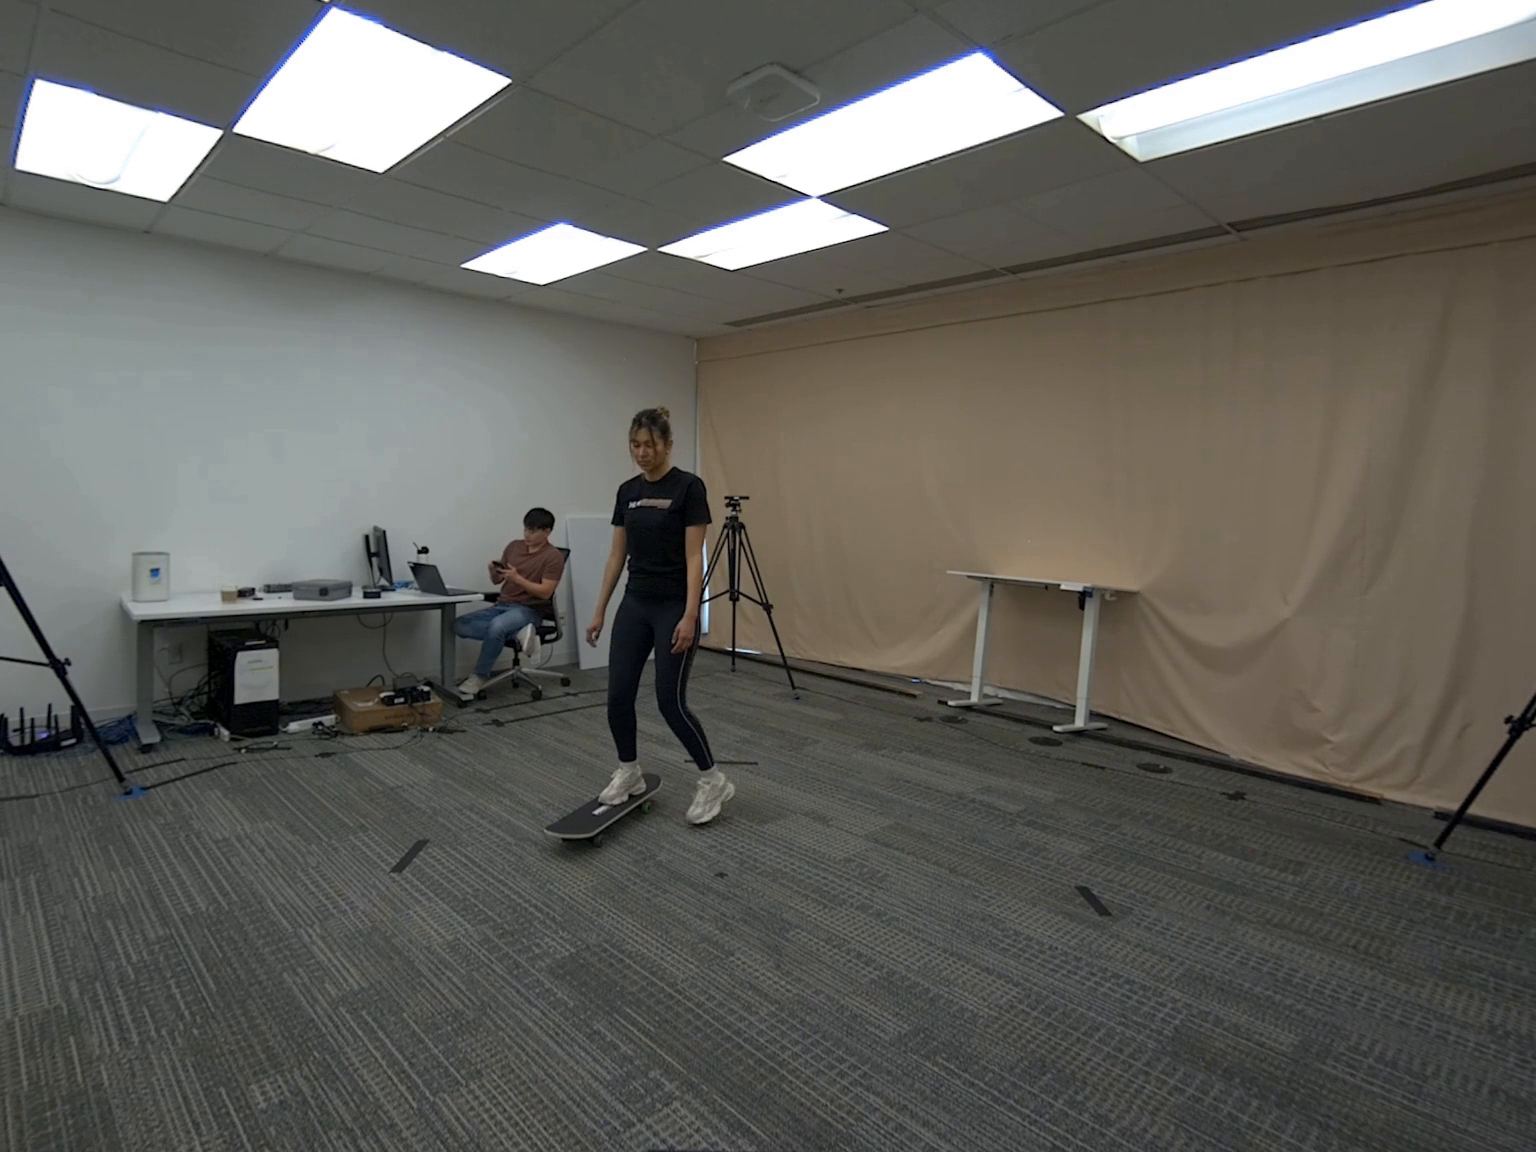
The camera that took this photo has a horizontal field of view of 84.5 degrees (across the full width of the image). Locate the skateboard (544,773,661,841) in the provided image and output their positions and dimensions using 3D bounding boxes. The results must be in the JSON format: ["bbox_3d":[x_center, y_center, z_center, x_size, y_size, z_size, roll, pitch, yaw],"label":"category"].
[{"bbox_3d":[-0.680,0.996,3.537,0.196,0.110,0.775,2,4,19],"label":"skateboard"}]
